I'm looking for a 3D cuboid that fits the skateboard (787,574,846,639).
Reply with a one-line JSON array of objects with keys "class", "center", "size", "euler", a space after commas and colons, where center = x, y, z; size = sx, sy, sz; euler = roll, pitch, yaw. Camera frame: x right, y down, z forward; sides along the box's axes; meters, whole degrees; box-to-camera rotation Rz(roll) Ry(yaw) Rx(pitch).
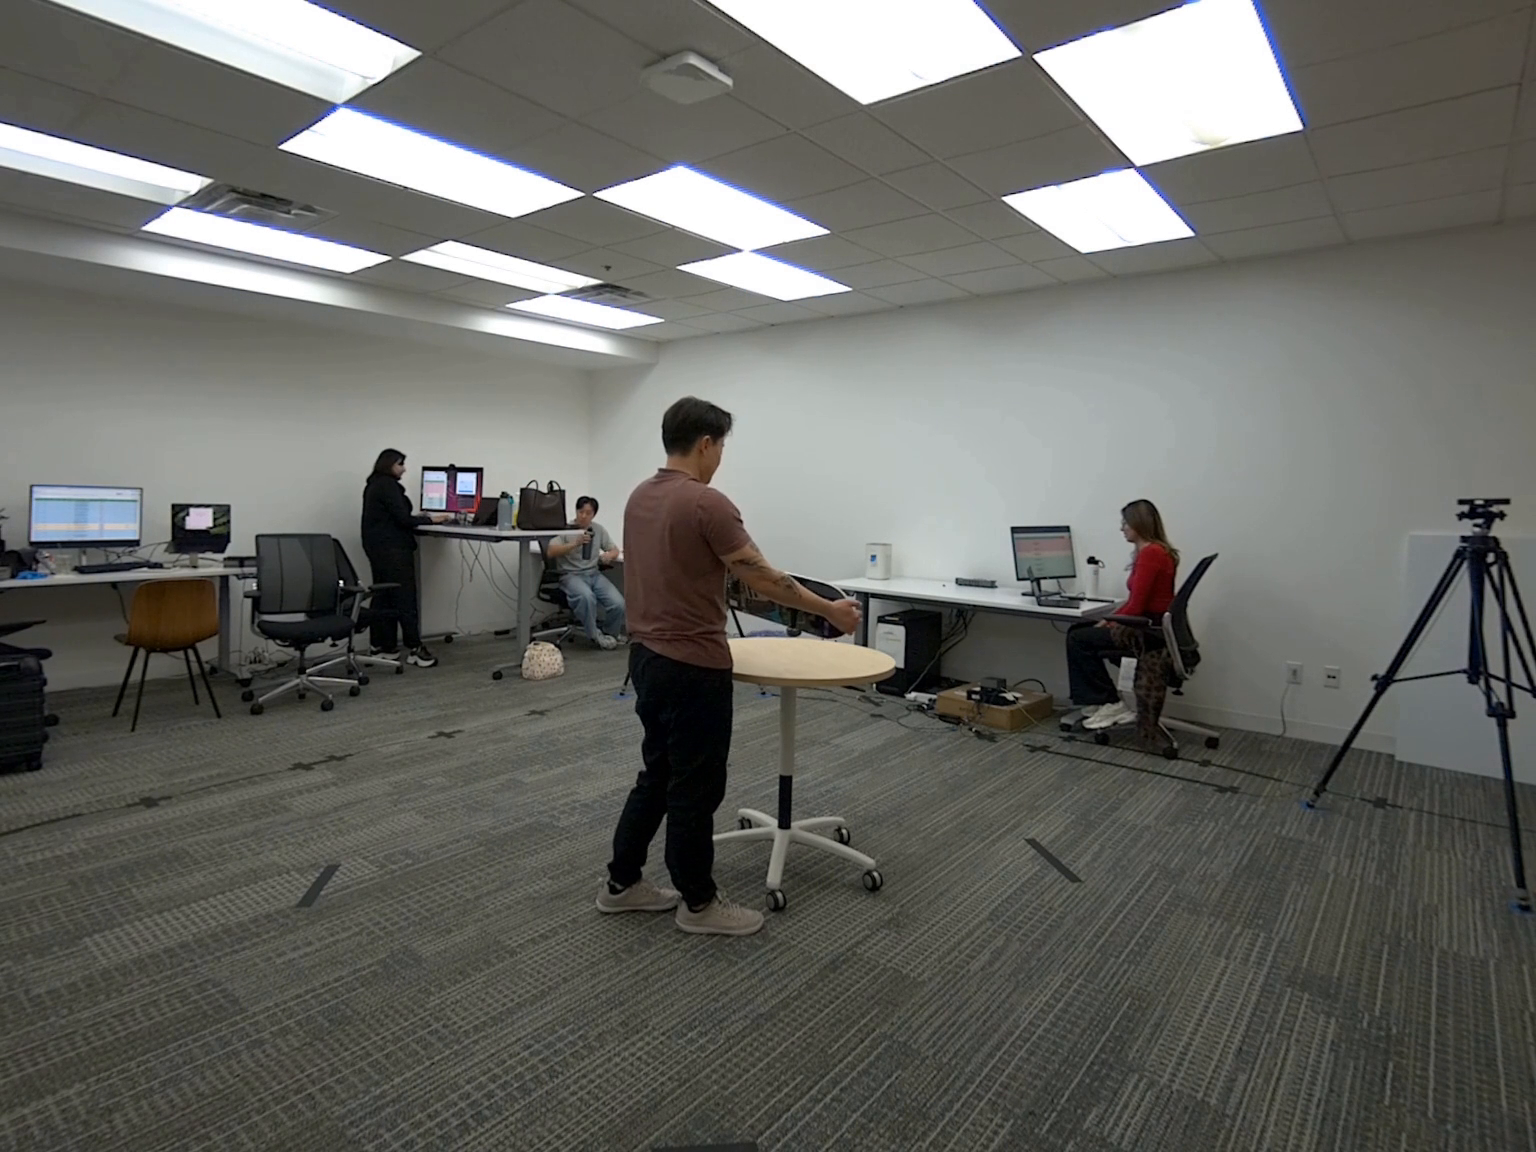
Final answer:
[{"class": "skateboard", "center": [-0.026, 0.069, 2.941], "size": [0.107, 0.191, 0.814], "euler": [-8, 14, -37]}]
